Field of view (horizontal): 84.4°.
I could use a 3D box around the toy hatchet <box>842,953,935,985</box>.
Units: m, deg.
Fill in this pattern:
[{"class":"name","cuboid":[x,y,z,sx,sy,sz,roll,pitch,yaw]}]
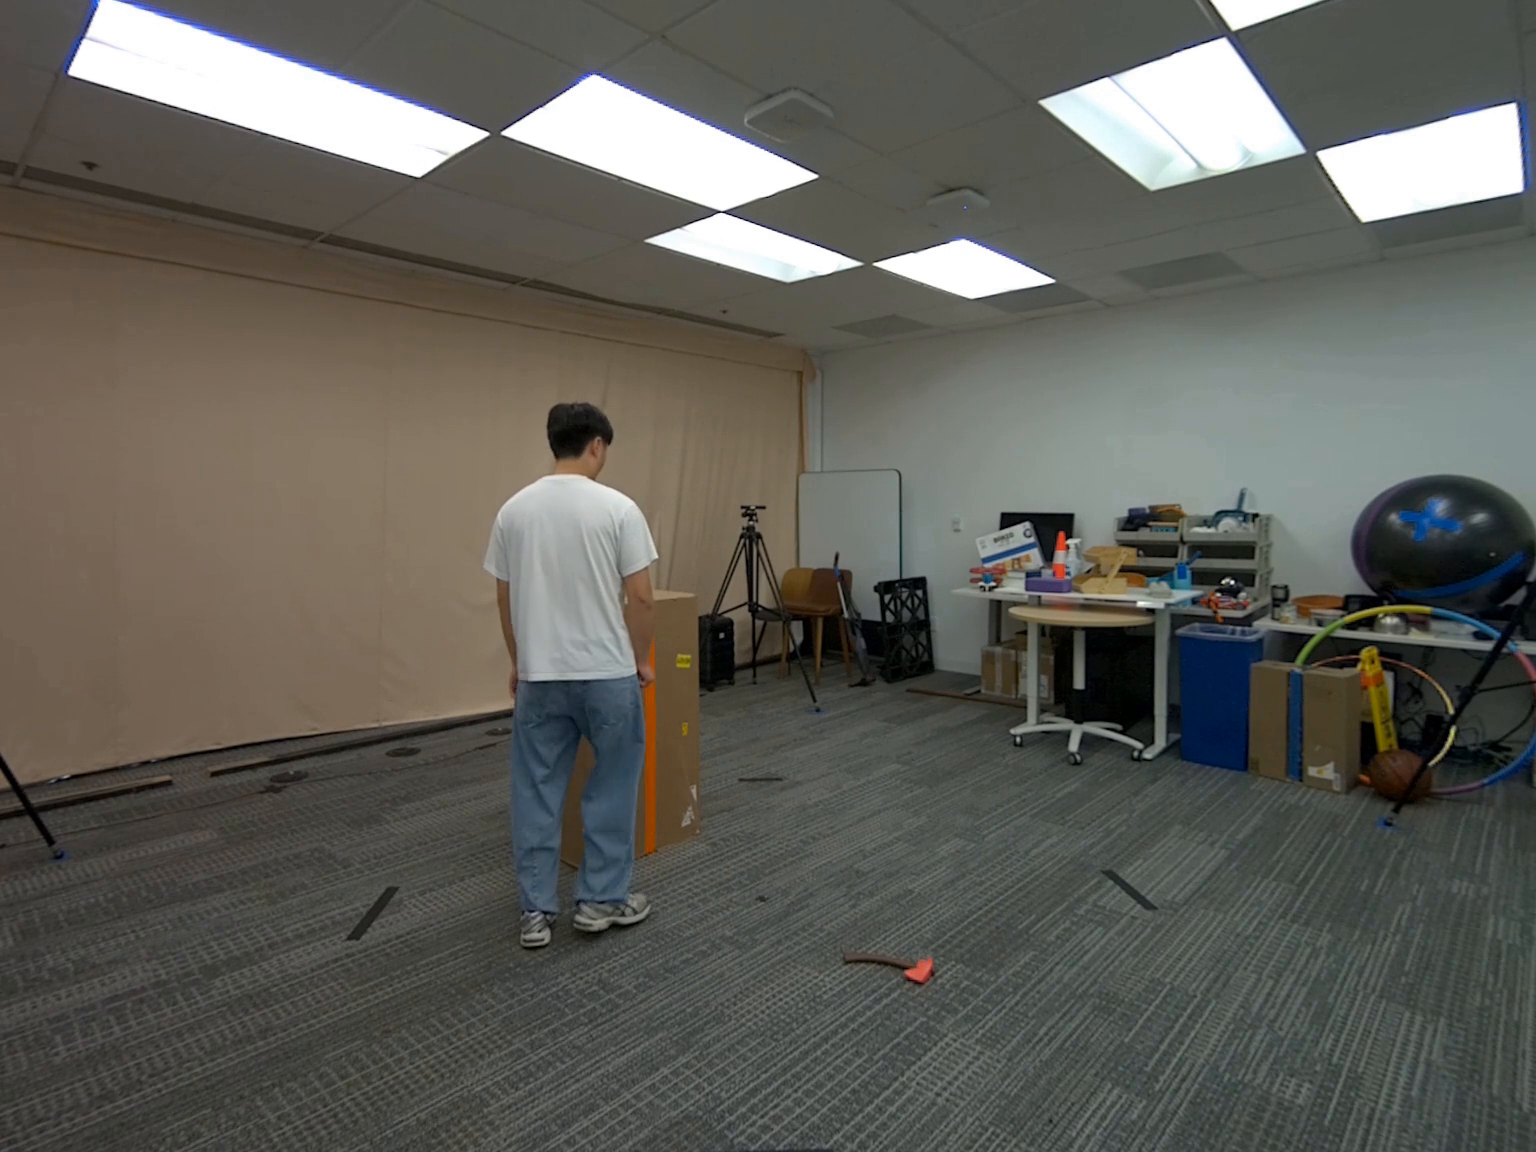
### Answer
[{"class":"toy hatchet","cuboid":[0.366,1.172,2.509,0.272,0.029,0.130,-2,5,7]}]
